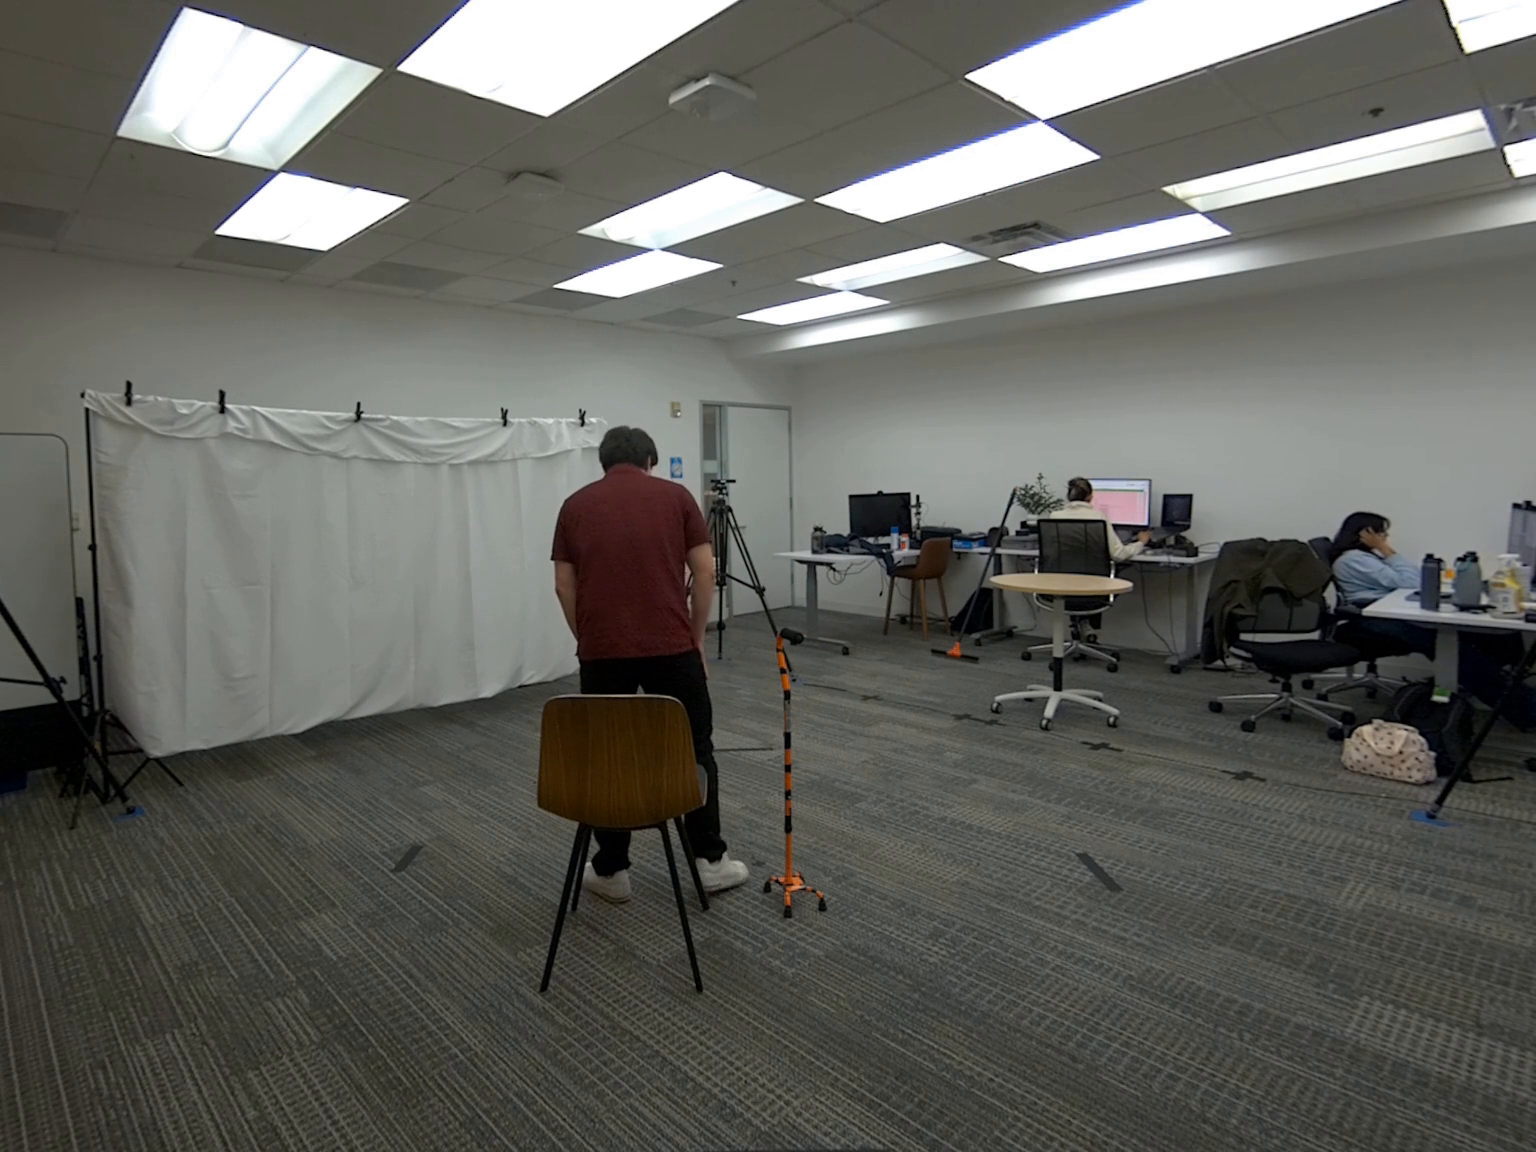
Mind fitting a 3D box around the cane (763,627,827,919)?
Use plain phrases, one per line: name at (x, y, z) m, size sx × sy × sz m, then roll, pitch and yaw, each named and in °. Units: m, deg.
cane at (0.080, 0.621, 2.801) m, size 0.149 × 0.905 × 0.211 m, roll -3°, pitch 4°, yaw -21°
